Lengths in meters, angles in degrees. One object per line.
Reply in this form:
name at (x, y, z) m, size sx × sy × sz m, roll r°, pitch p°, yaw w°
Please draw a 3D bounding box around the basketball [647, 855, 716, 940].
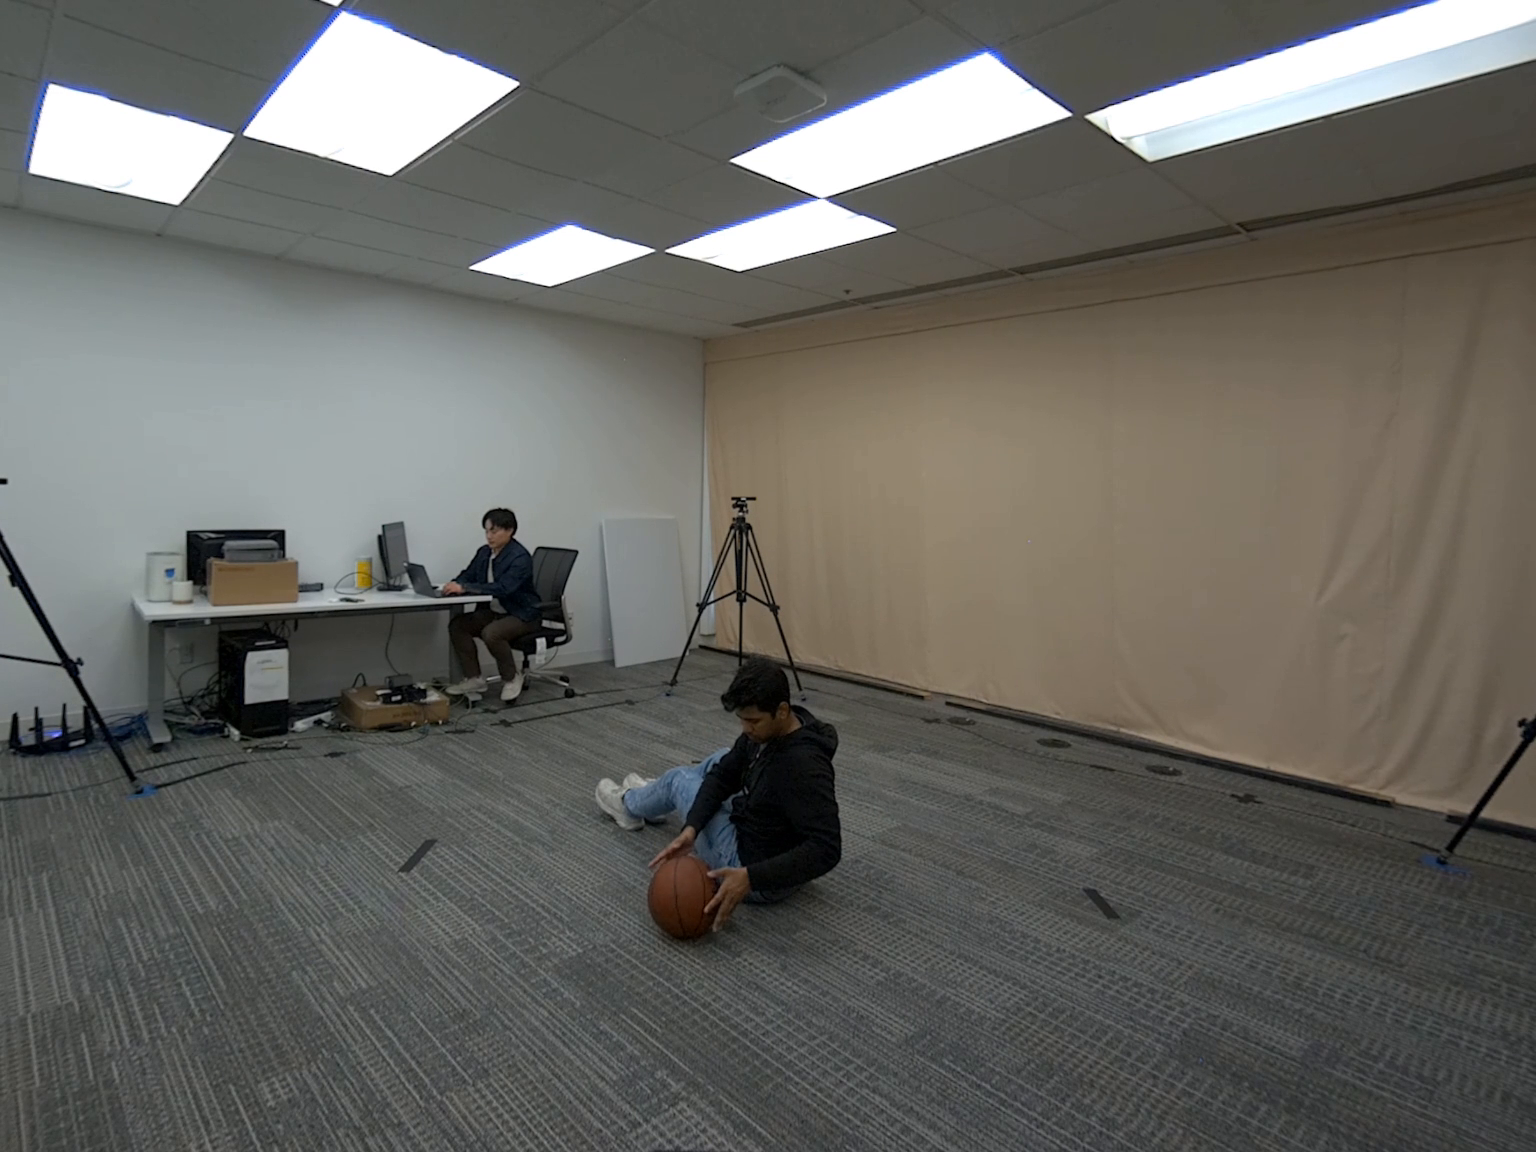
basketball at (-0.269, 1.017, 2.686) m, size 0.236 × 0.235 × 0.237 m, roll 1°, pitch 4°, yaw -1°
